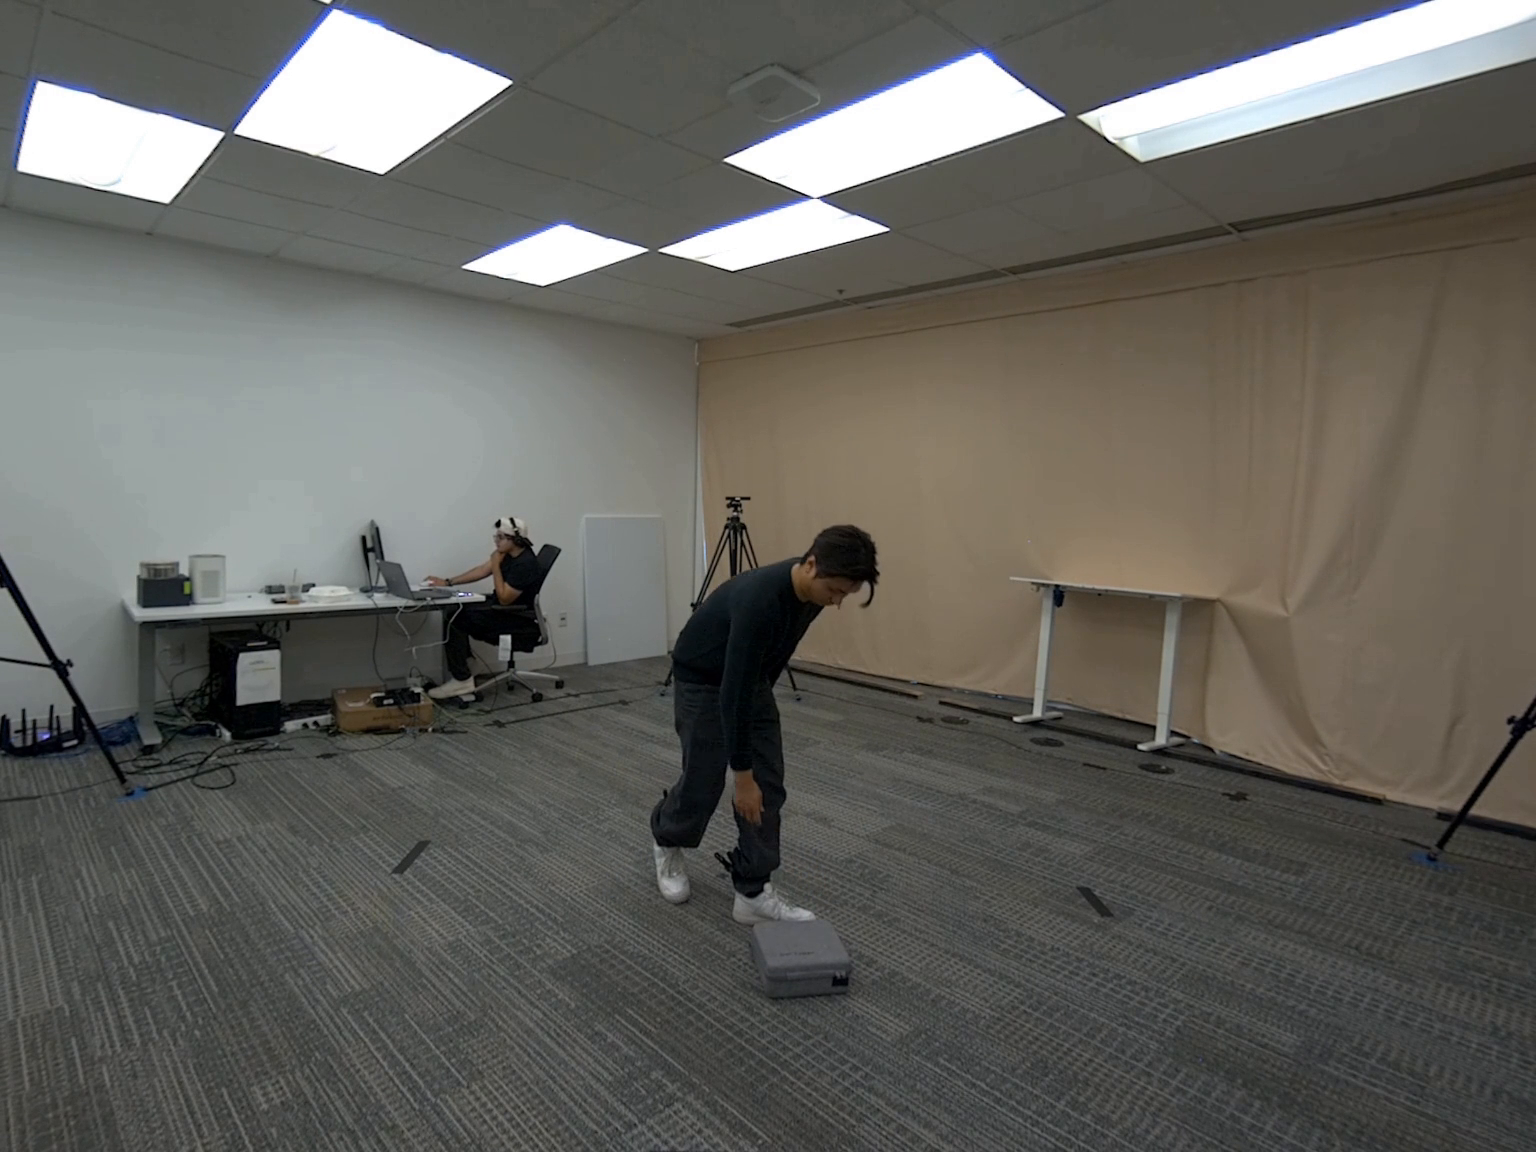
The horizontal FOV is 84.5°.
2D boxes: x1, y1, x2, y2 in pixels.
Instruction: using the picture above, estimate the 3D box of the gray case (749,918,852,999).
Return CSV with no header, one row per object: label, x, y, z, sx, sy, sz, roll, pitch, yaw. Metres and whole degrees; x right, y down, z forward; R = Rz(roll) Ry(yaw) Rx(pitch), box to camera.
gray case,0.084,1.114,2.474,0.255,0.104,0.263,-1,5,-10
